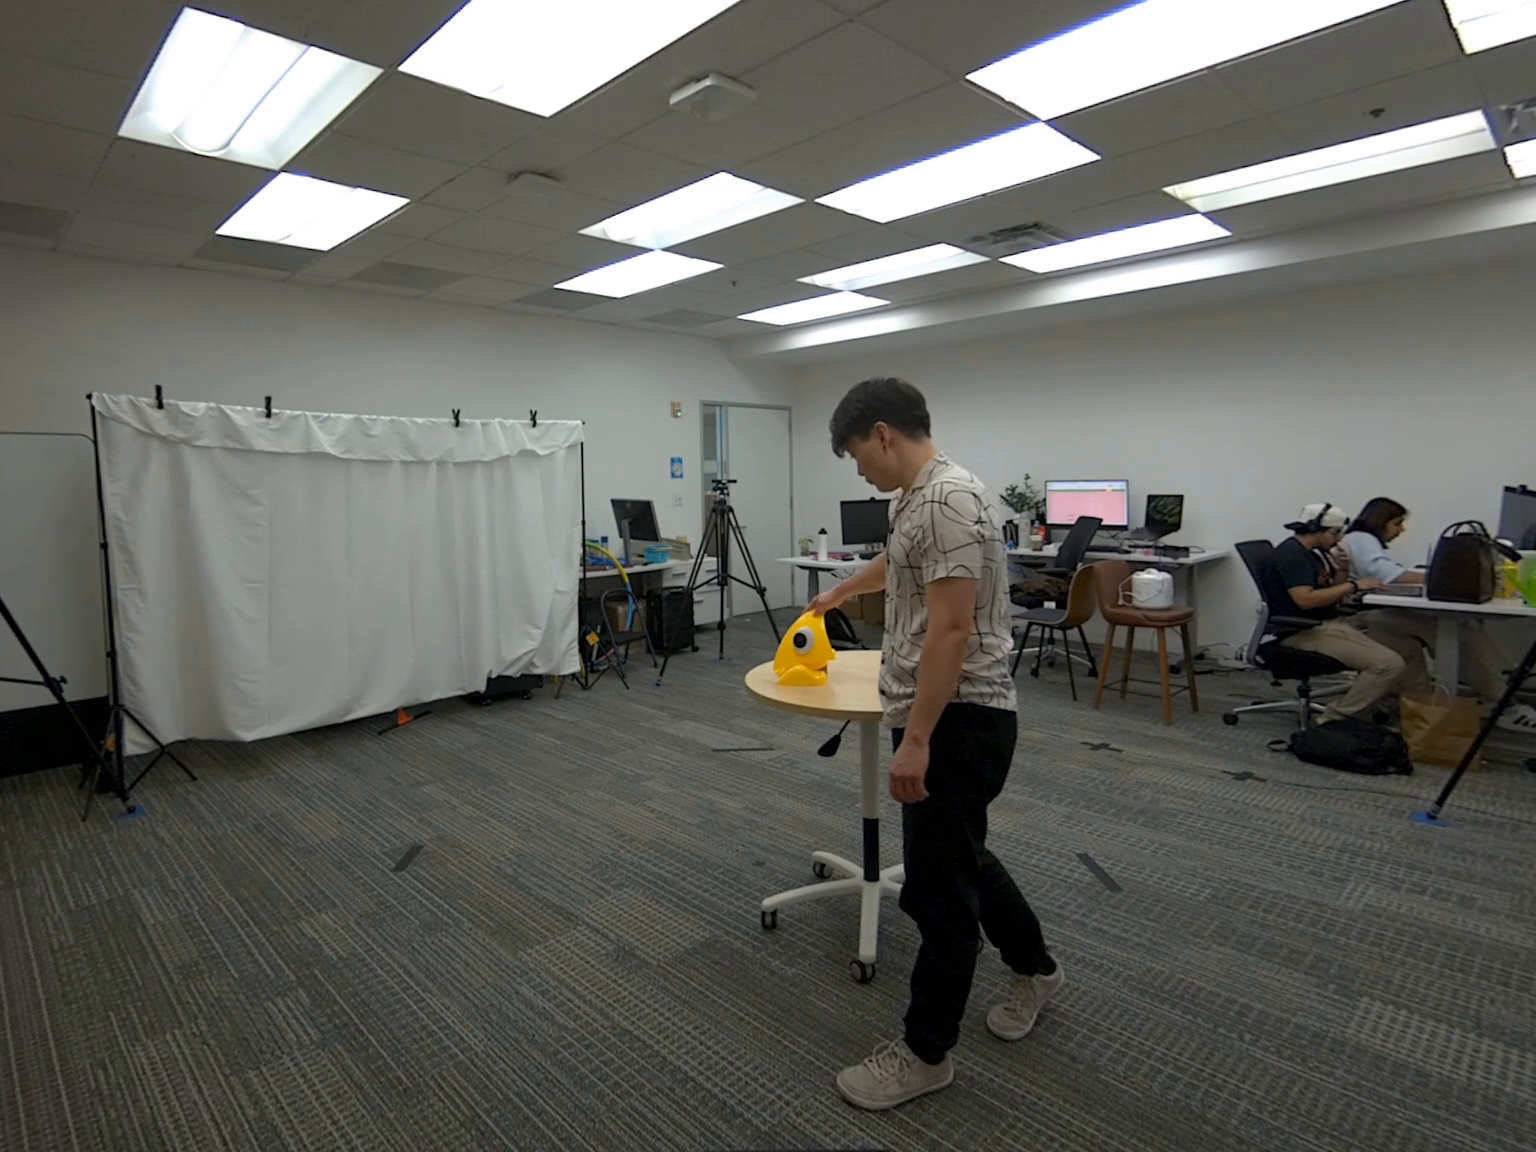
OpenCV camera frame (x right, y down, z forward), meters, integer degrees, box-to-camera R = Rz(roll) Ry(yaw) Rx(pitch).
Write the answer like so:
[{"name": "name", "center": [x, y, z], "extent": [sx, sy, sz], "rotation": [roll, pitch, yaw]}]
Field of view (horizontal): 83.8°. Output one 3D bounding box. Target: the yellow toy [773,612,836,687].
[{"name": "yellow toy", "center": [0.115, 0.204, 2.637], "extent": [0.194, 0.230, 0.205], "rotation": [0, 5, 2]}]
